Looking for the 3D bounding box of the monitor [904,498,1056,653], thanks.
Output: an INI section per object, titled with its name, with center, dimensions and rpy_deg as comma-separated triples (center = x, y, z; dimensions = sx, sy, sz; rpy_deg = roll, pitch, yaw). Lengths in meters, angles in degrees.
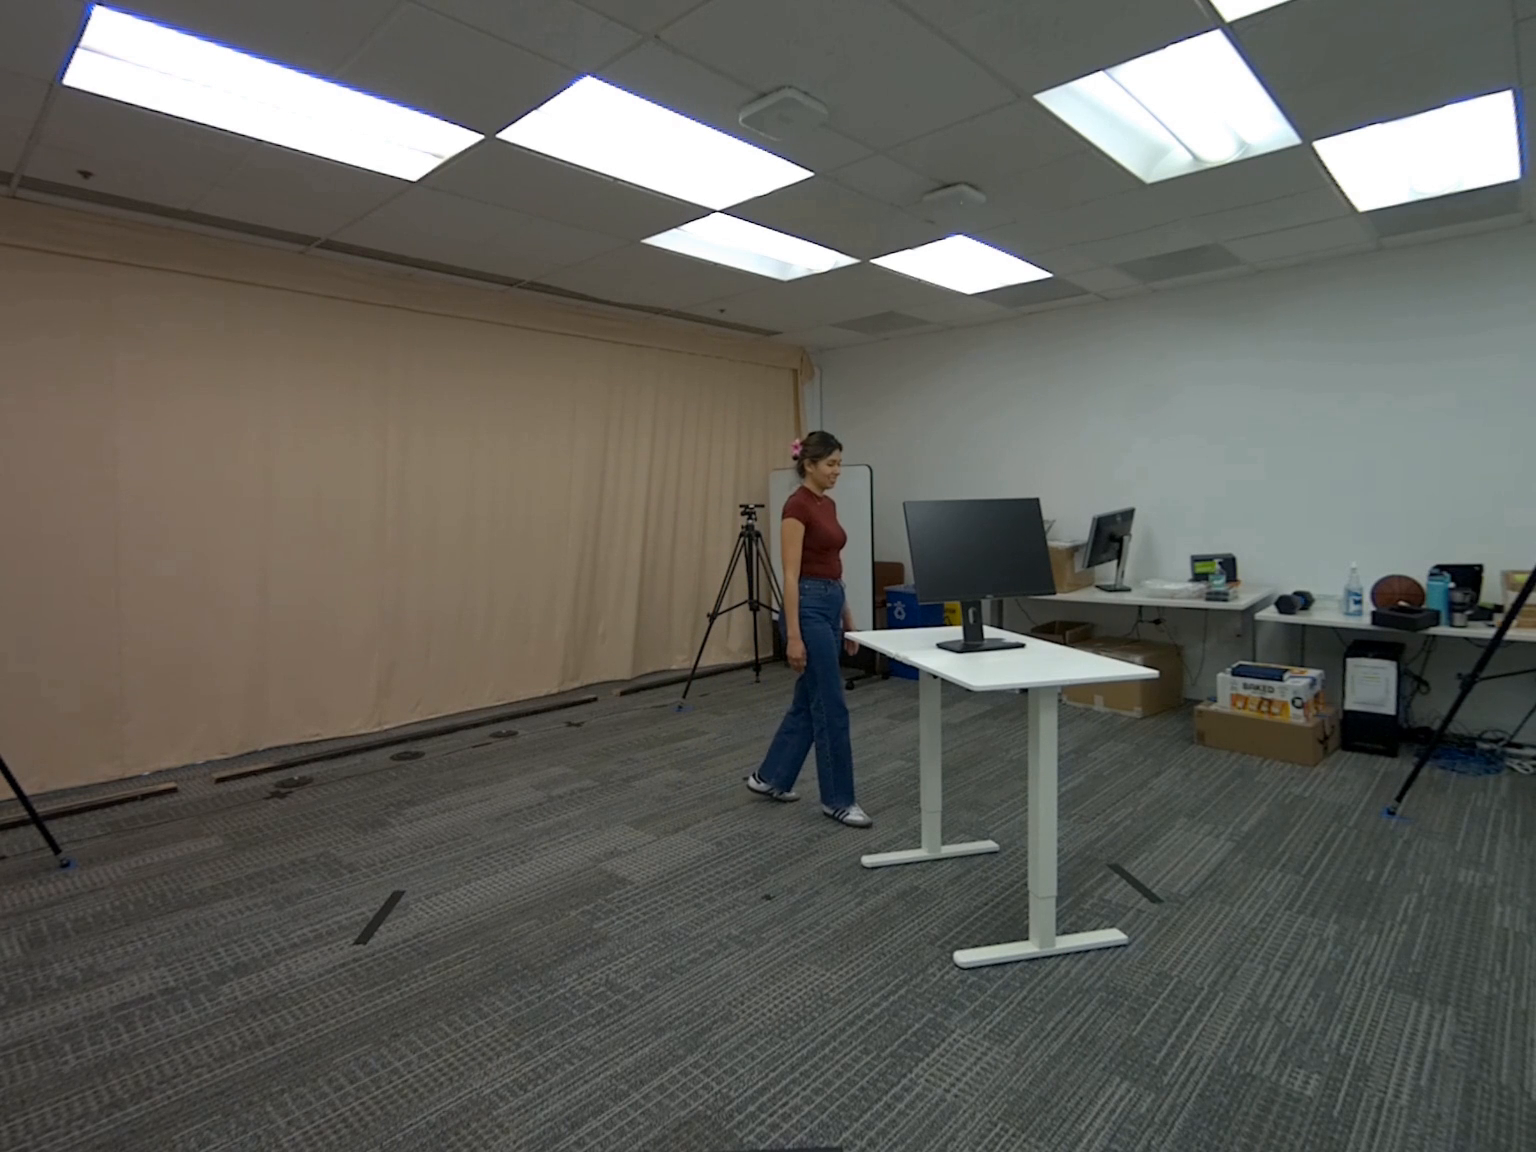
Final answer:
[monitor]
center = 0.736, -0.005, 2.936
dimensions = 0.529, 0.522, 0.191
rpy_deg = -3, 2, -18
